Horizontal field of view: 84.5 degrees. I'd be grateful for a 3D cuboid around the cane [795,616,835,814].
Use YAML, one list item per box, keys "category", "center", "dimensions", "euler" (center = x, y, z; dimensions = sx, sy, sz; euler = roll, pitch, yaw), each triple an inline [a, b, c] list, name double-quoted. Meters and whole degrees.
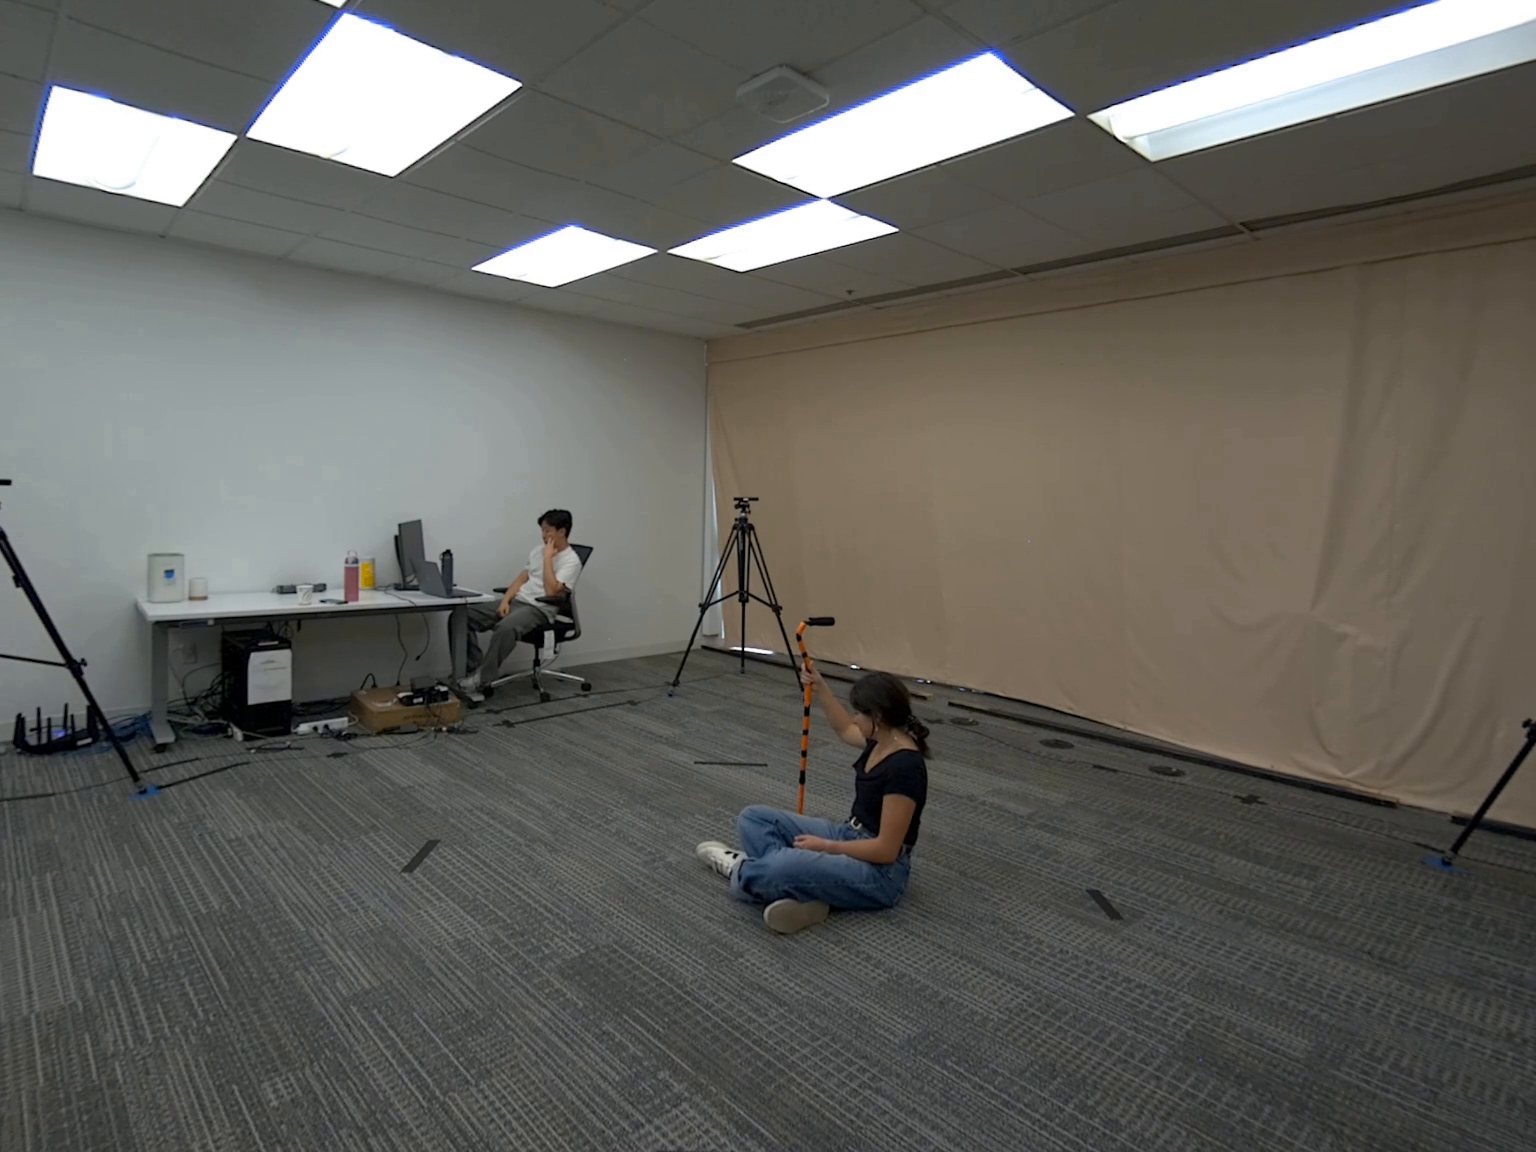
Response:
- category: "cane"
  center: [0.127, 0.620, 3.388]
  dimensions: [0.203, 0.905, 0.155]
  euler: [0, 5, -24]
